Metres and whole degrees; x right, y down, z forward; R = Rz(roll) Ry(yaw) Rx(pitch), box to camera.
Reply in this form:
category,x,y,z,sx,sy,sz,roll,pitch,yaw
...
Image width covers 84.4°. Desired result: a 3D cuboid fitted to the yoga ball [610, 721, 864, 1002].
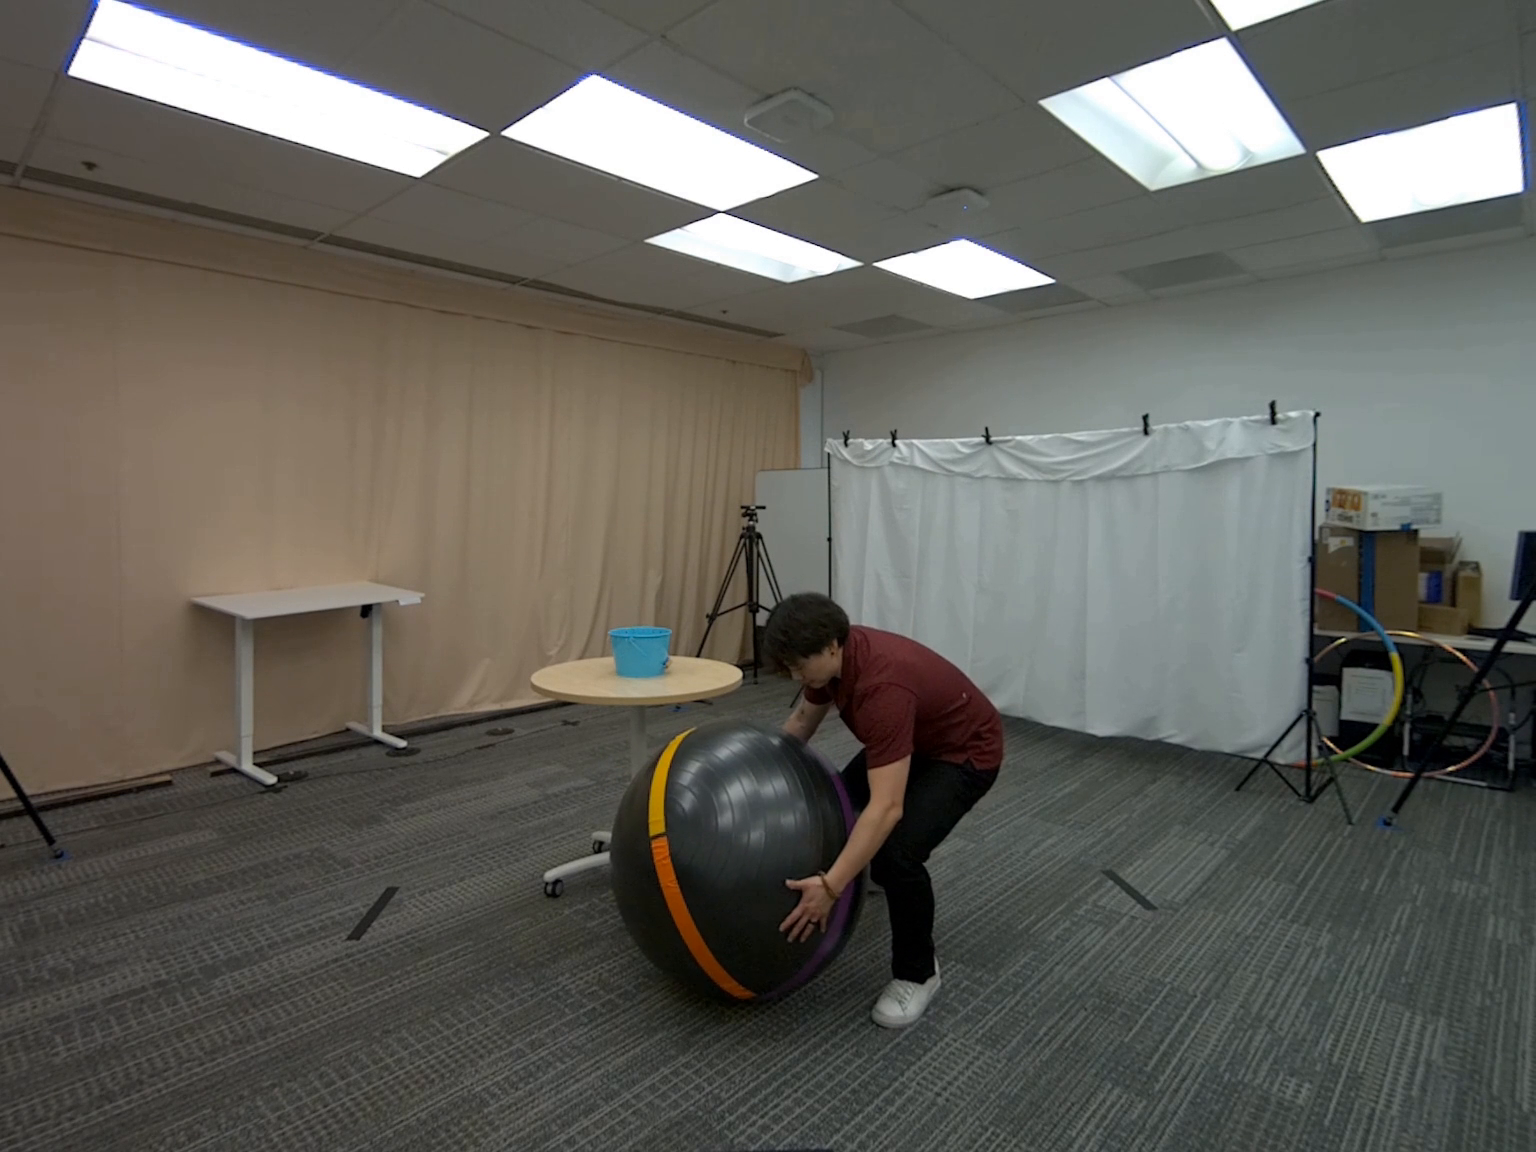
category,x,y,z,sx,sy,sz,roll,pitch,yaw
yoga ball,-0.085,0.824,2.457,0.757,0.756,0.761,0,4,-2
